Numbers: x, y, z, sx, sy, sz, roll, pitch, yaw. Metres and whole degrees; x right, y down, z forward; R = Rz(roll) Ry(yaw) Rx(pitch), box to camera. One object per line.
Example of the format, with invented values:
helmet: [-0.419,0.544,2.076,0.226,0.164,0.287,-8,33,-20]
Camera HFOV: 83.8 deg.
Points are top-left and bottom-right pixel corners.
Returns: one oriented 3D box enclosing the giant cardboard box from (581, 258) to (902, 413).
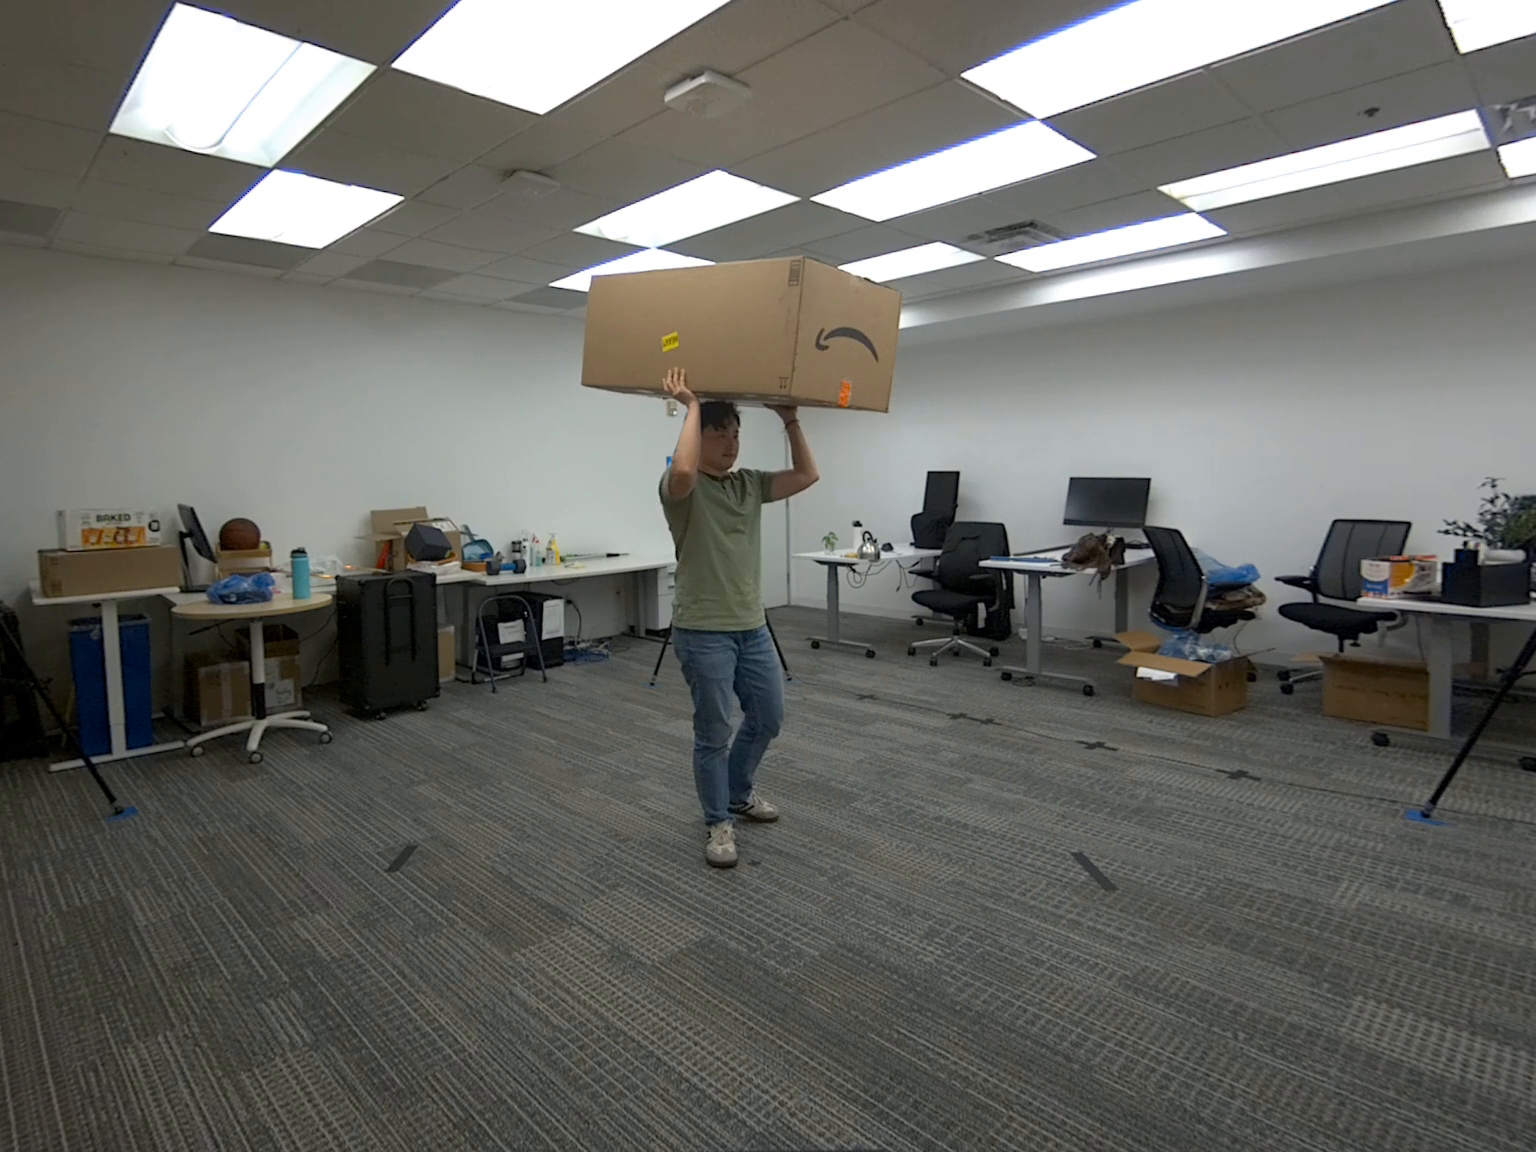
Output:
giant cardboard box: [-0.125,-0.855,3.134,1.061,0.424,0.561,13,10,40]
